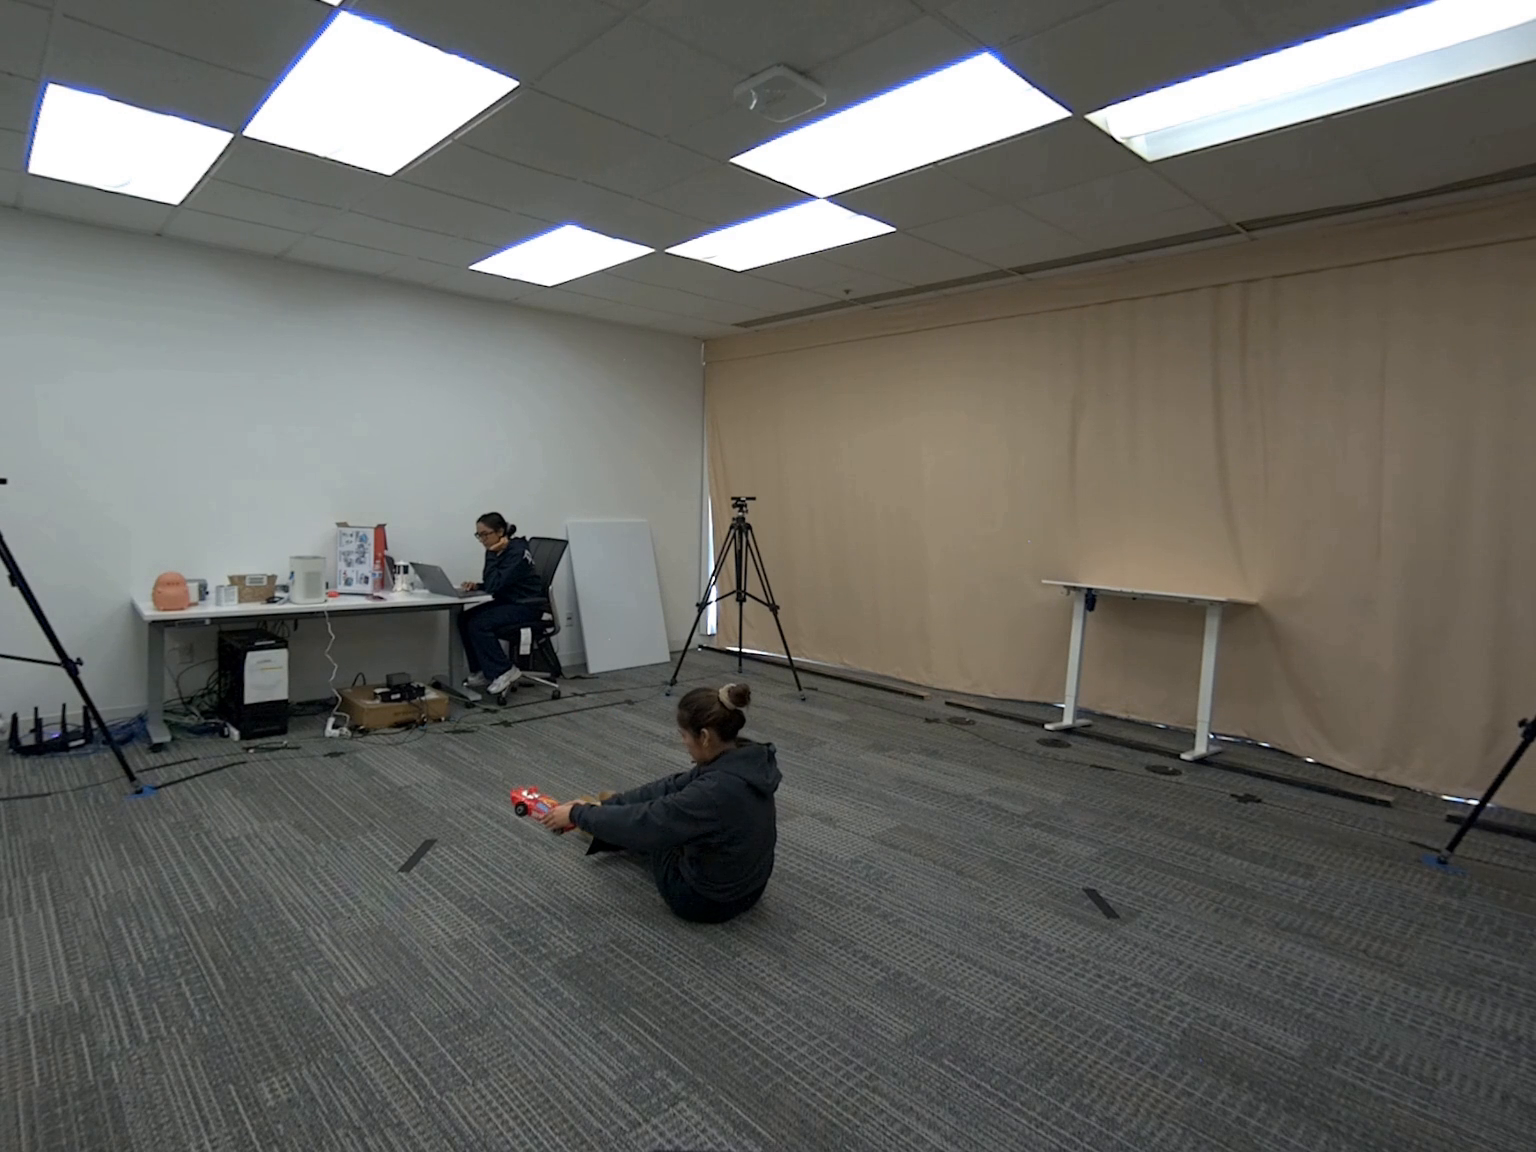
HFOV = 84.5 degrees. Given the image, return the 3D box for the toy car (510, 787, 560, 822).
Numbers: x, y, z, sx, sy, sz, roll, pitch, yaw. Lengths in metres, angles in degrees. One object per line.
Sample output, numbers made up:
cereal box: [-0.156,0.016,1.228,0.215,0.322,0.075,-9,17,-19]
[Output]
toy car: [-0.758,0.789,2.857,0.259,0.083,0.128,31,5,15]
